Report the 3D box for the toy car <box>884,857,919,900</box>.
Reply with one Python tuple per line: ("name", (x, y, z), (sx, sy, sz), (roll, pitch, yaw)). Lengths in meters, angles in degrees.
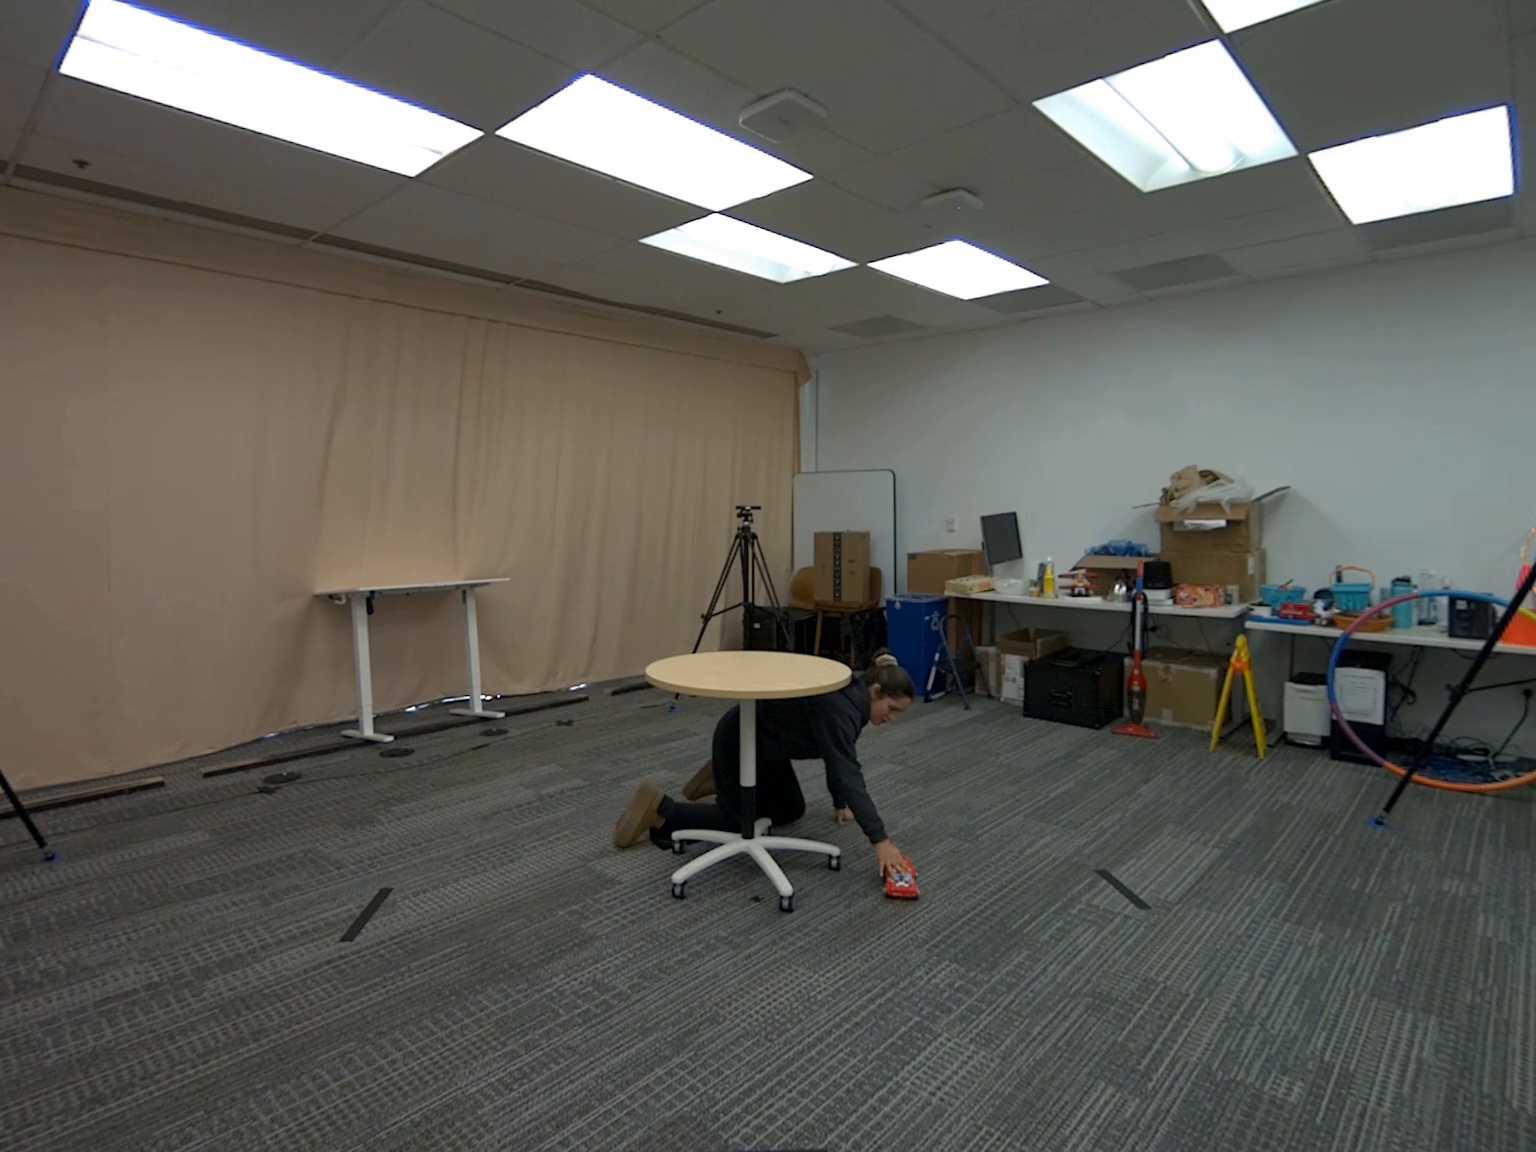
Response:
("toy car", (0.507, 1.094, 3.071), (0.131, 0.082, 0.255), (-1, 16, 7))
